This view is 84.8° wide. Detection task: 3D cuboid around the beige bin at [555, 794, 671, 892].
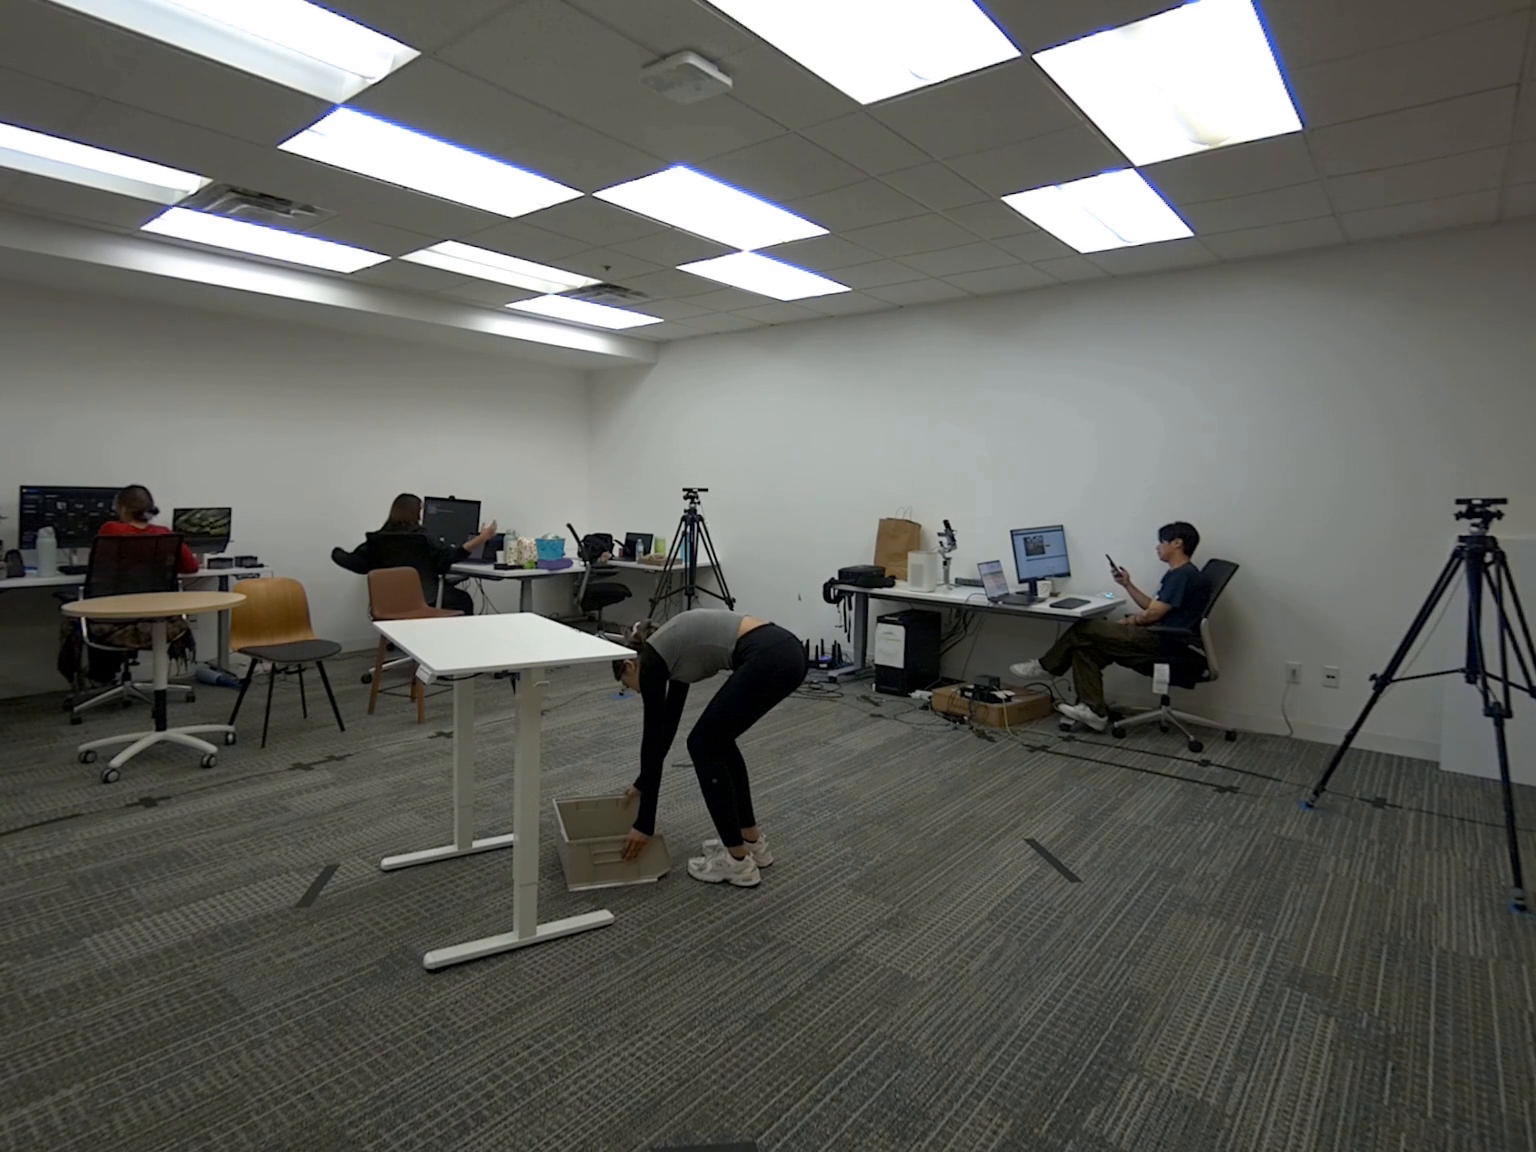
[{"bbox_3d":[-0.594,0.968,3.150,0.370,0.188,0.433,-1,7,-20],"label":"beige bin"}]
